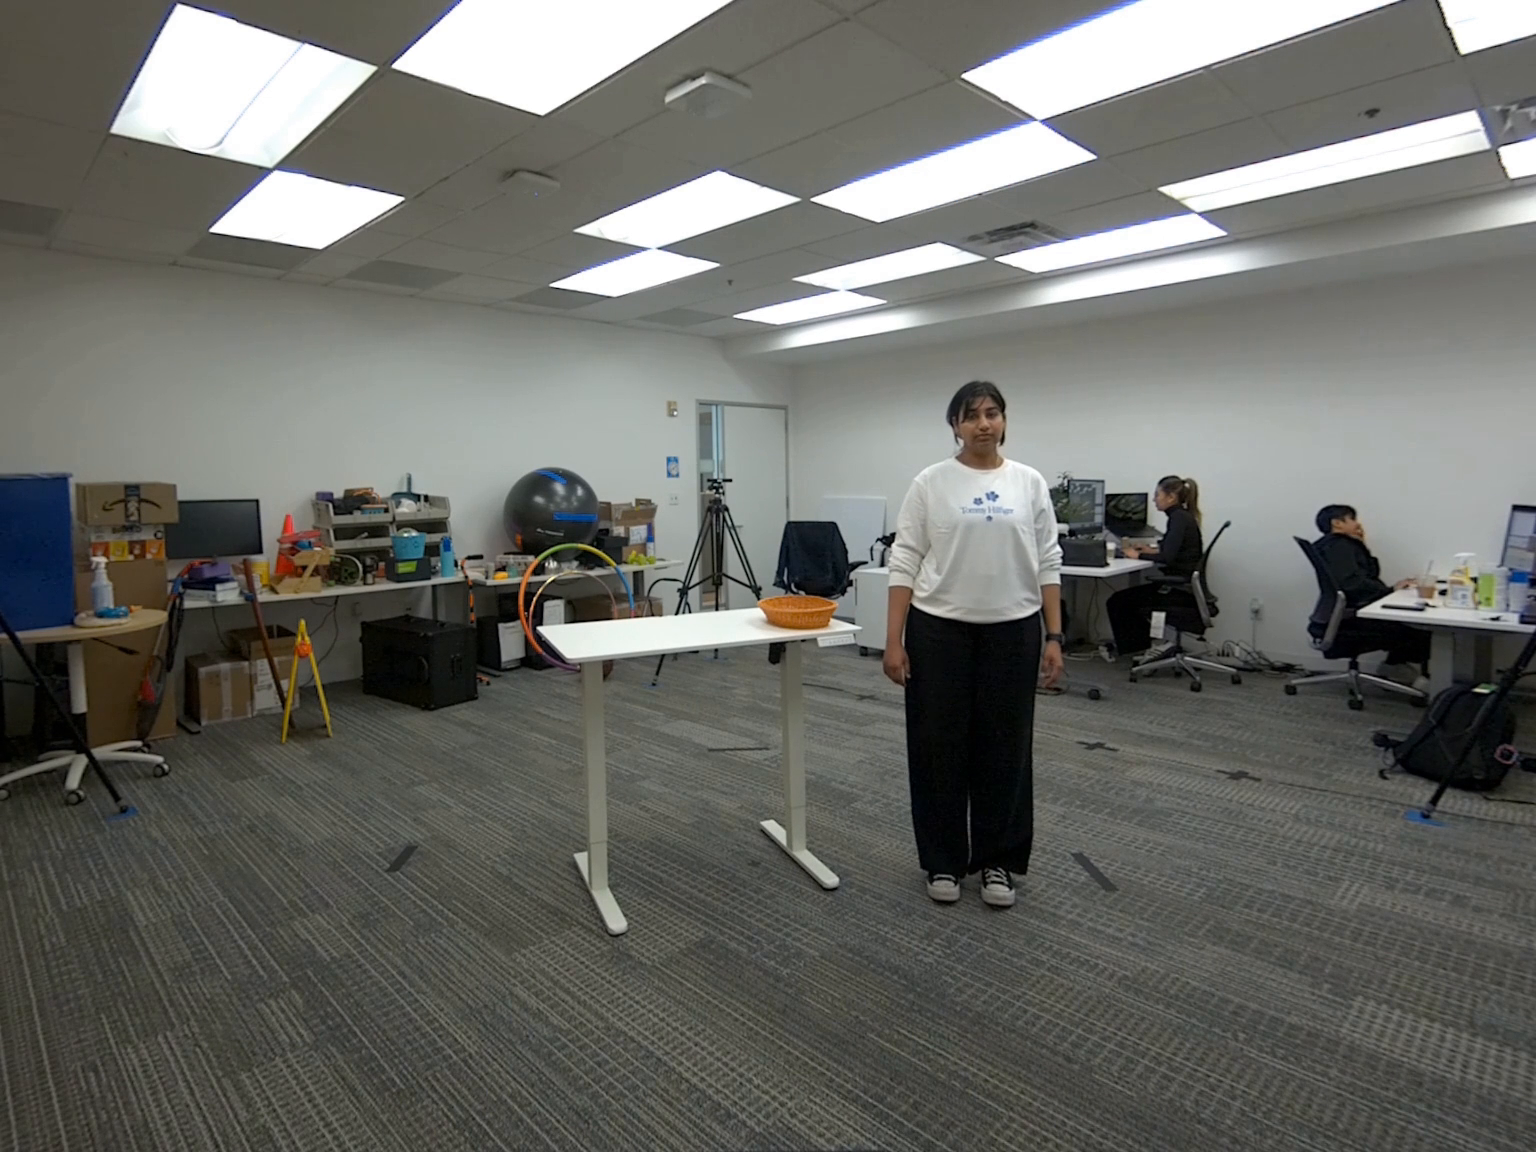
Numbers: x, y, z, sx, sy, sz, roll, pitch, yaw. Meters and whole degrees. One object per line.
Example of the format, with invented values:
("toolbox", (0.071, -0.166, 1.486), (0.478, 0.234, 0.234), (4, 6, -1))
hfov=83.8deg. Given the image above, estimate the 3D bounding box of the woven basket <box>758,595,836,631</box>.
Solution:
("woven basket", (0.116, 0.132, 3.045), (0.249, 0.073, 0.357), (-5, 7, -15))
